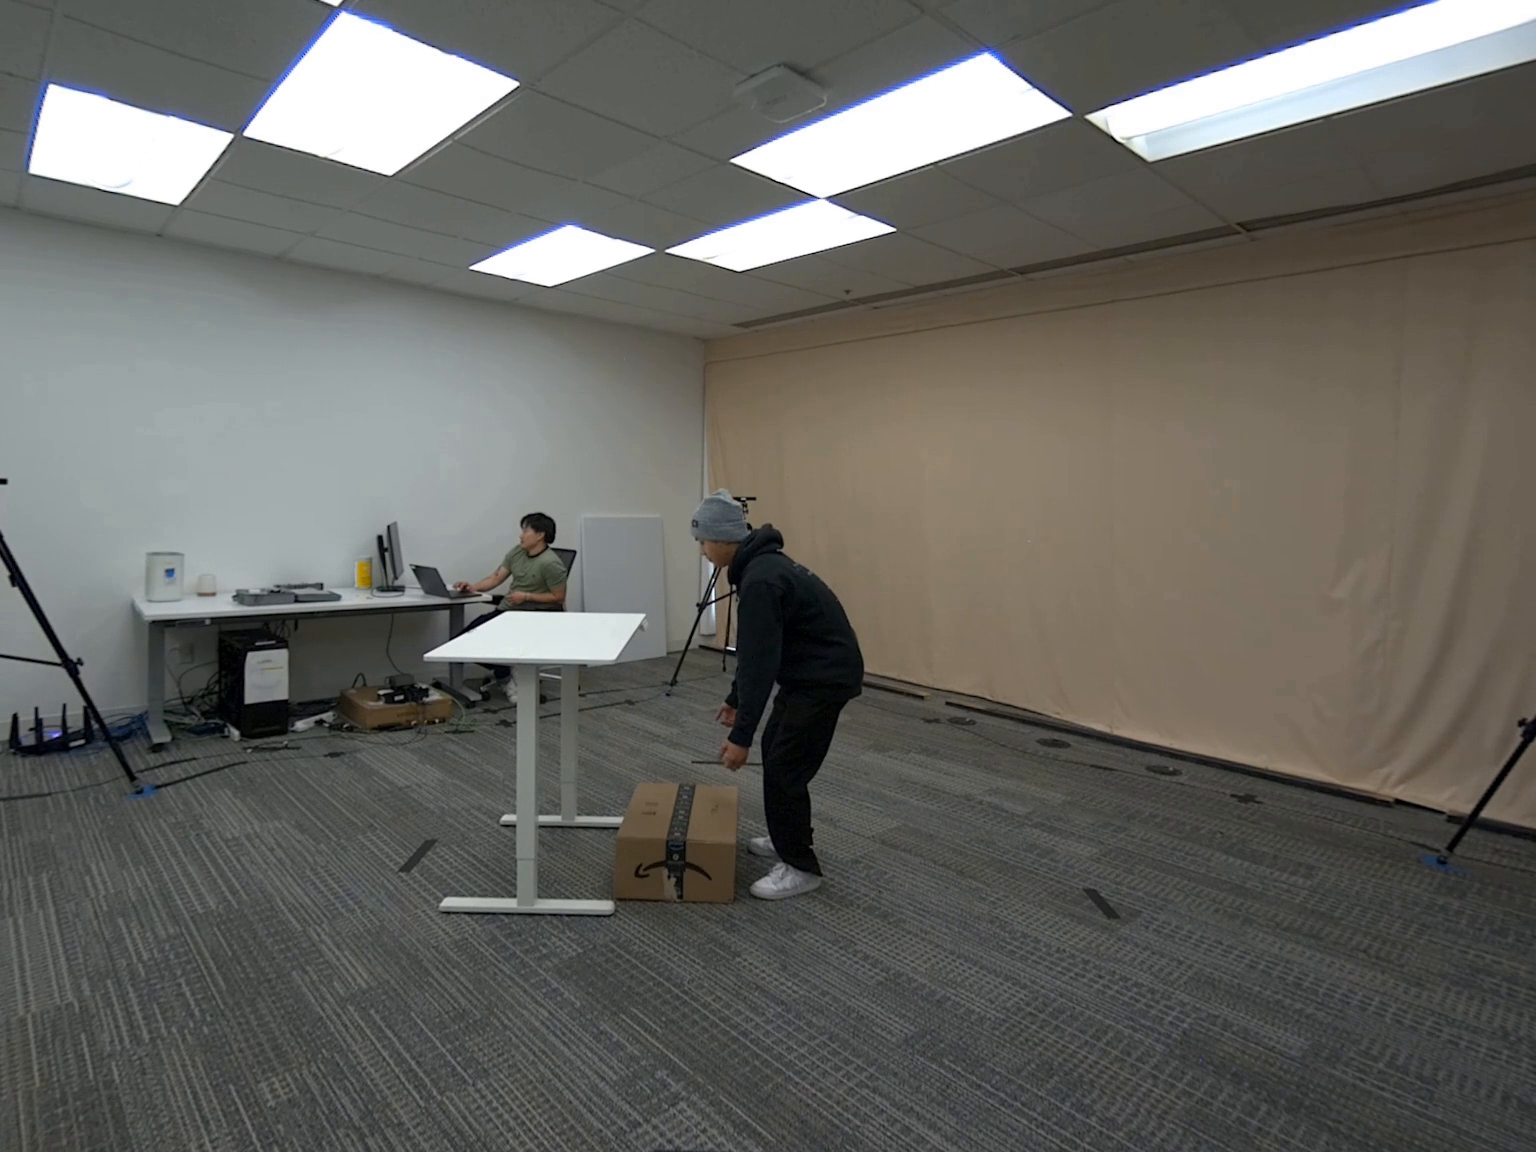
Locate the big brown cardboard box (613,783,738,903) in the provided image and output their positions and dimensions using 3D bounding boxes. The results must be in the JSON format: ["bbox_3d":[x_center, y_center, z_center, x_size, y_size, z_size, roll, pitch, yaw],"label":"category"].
[{"bbox_3d":[-0.330,0.984,3.167,0.418,0.232,0.590,2,4,0],"label":"big brown cardboard box"}]
